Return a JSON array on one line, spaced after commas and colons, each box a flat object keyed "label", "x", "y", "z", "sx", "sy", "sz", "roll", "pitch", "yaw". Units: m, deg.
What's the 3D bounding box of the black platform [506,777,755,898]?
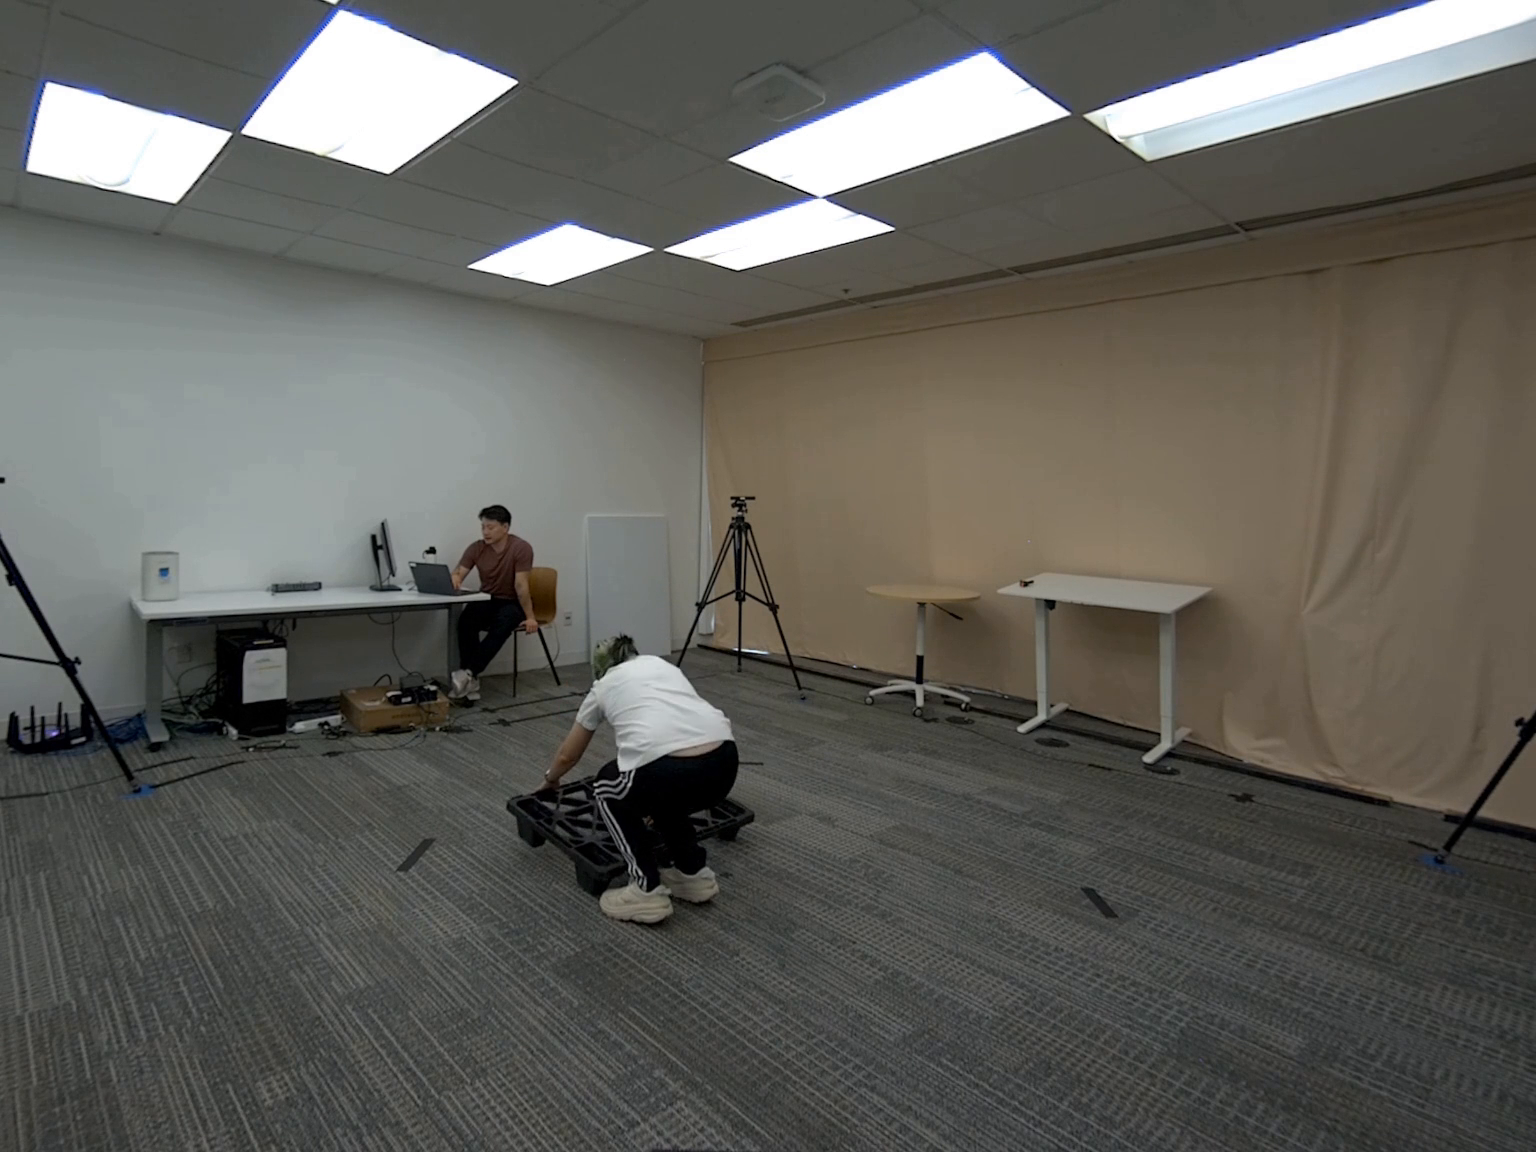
[{"label": "black platform", "x": -0.540, "y": 0.975, "z": 3.328, "sx": 0.623, "sy": 0.142, "sz": 0.787, "roll": 18, "pitch": 14, "yaw": 40}]
